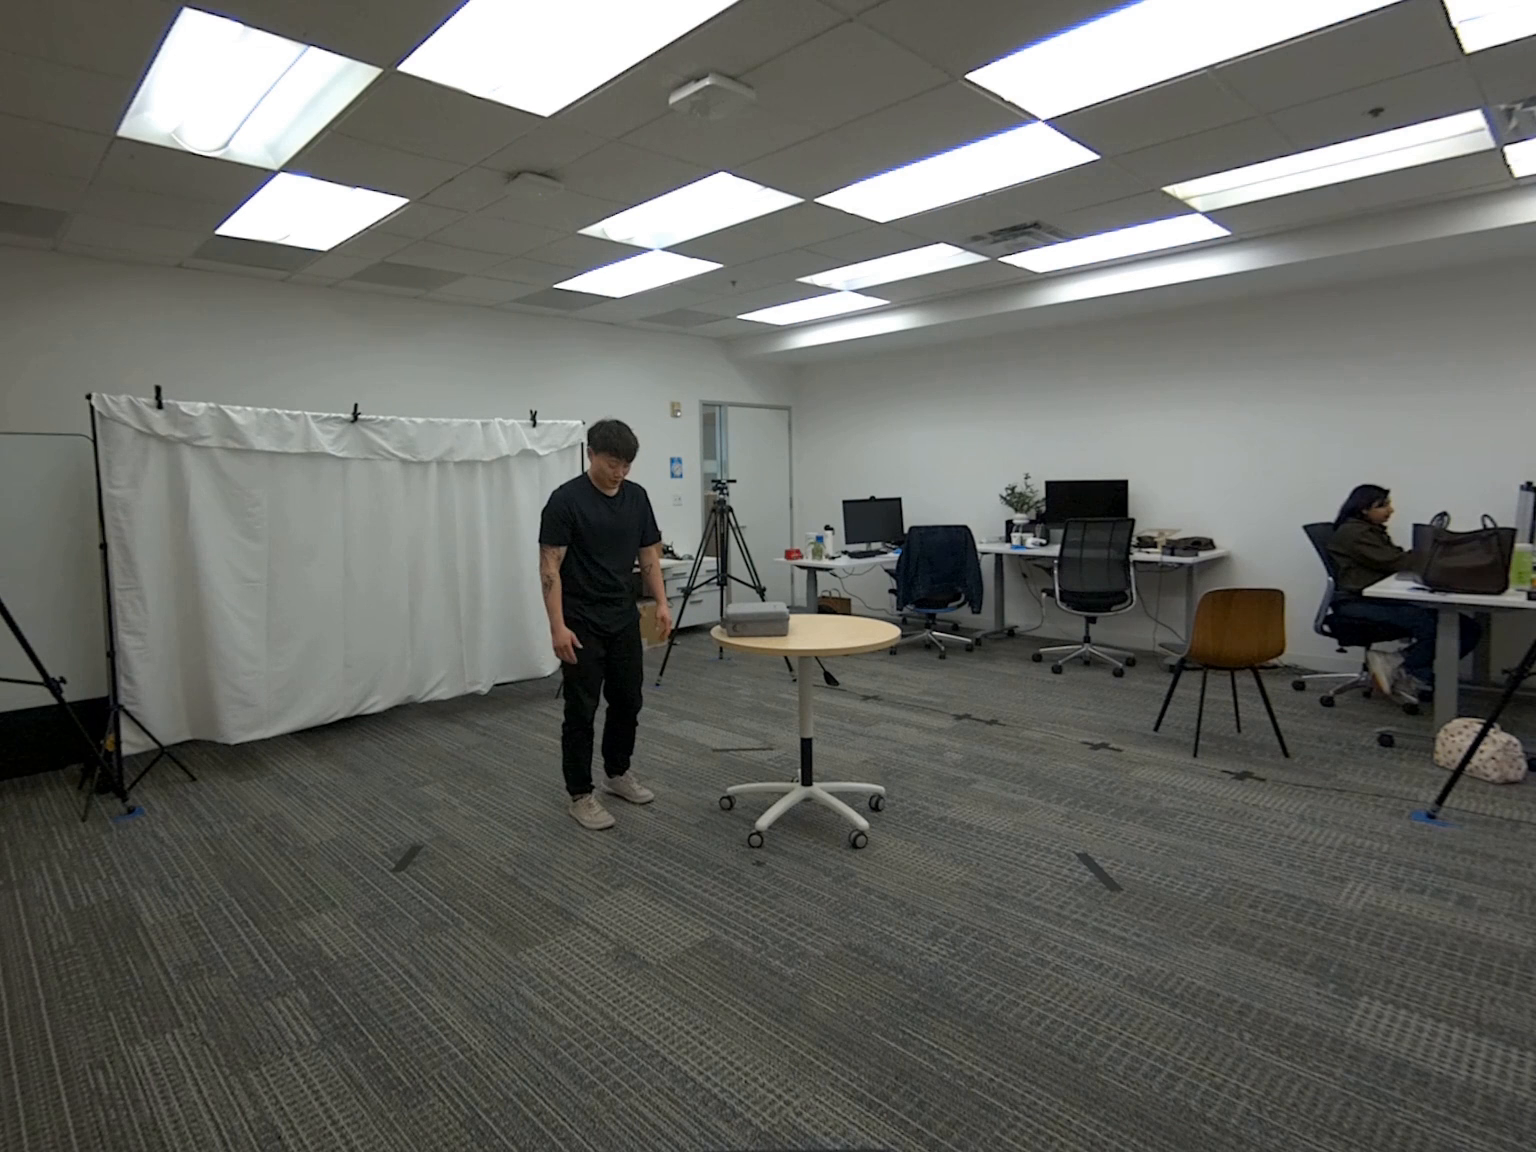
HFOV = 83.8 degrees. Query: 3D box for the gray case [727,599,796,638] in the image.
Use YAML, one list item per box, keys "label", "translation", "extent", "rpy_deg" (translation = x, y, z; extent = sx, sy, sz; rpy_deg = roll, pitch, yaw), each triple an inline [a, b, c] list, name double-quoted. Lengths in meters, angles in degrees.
- label: "gray case"
  translation: [-0.034, 0.167, 3.445]
  extent: [0.261, 0.104, 0.258]
  rpy_deg: [-2, 6, -1]
